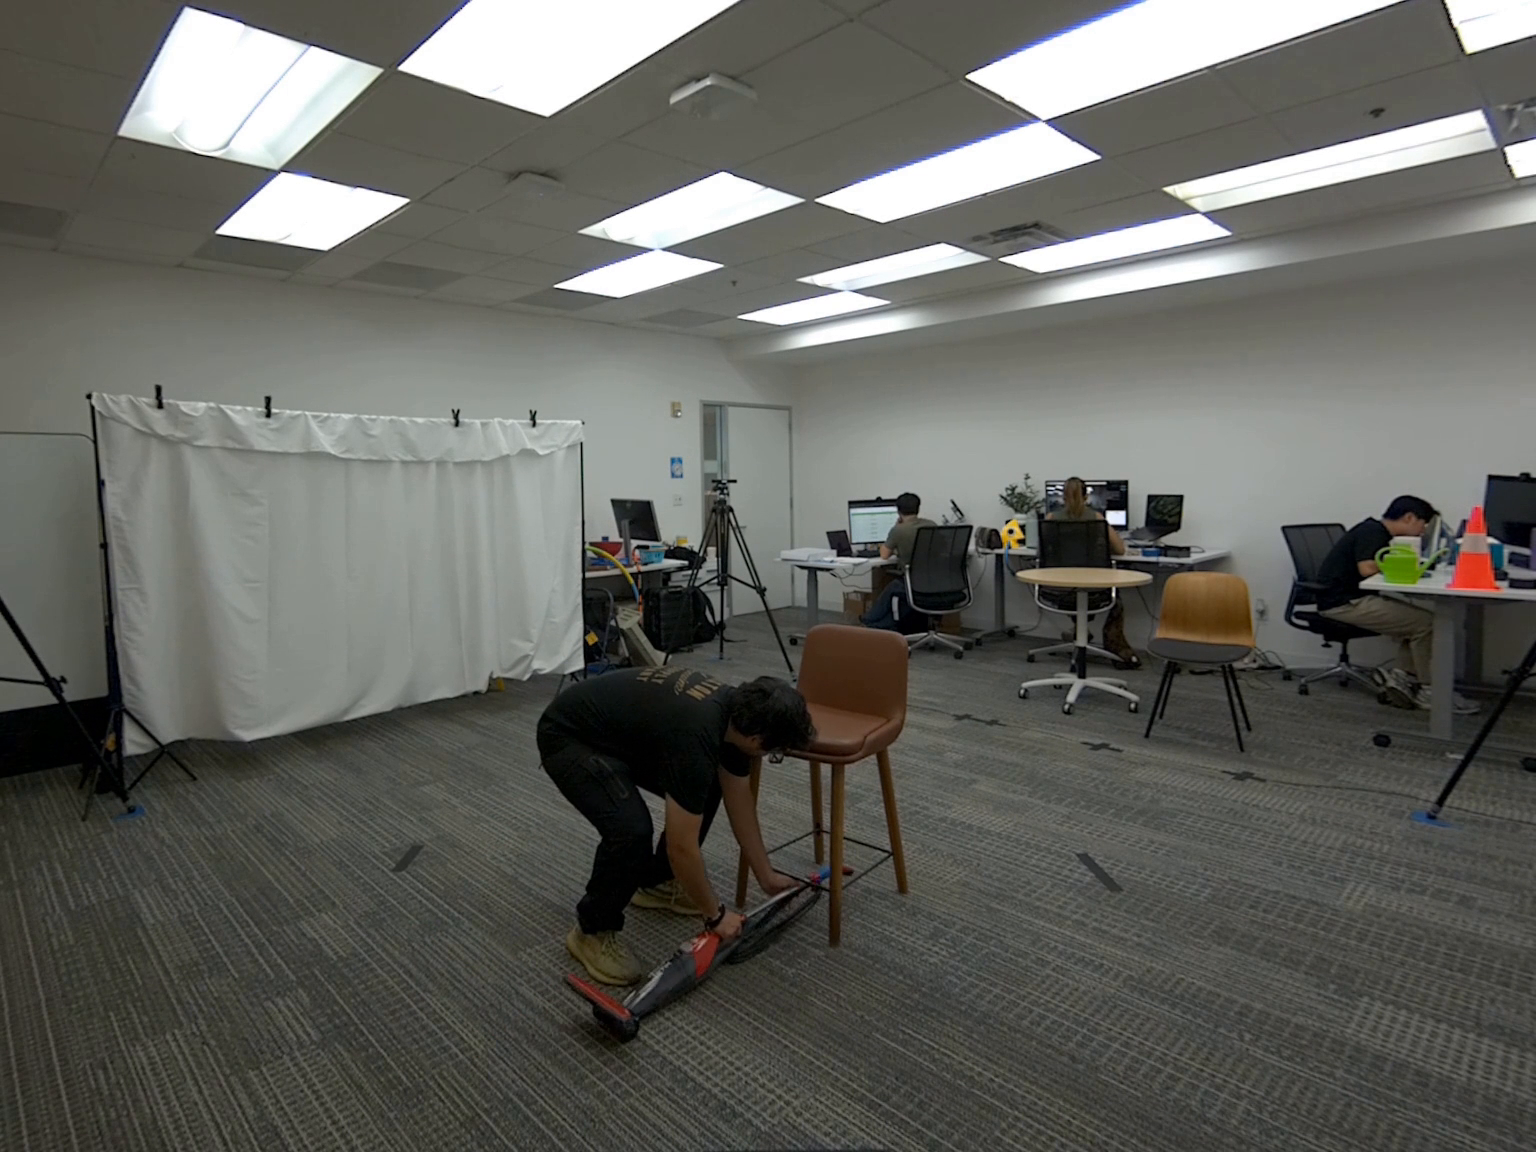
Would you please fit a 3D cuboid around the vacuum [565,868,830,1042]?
[{"bbox_3d":[-0.066,1.064,2.511,0.260,0.143,1.022,5,8,42],"label":"vacuum"}]
